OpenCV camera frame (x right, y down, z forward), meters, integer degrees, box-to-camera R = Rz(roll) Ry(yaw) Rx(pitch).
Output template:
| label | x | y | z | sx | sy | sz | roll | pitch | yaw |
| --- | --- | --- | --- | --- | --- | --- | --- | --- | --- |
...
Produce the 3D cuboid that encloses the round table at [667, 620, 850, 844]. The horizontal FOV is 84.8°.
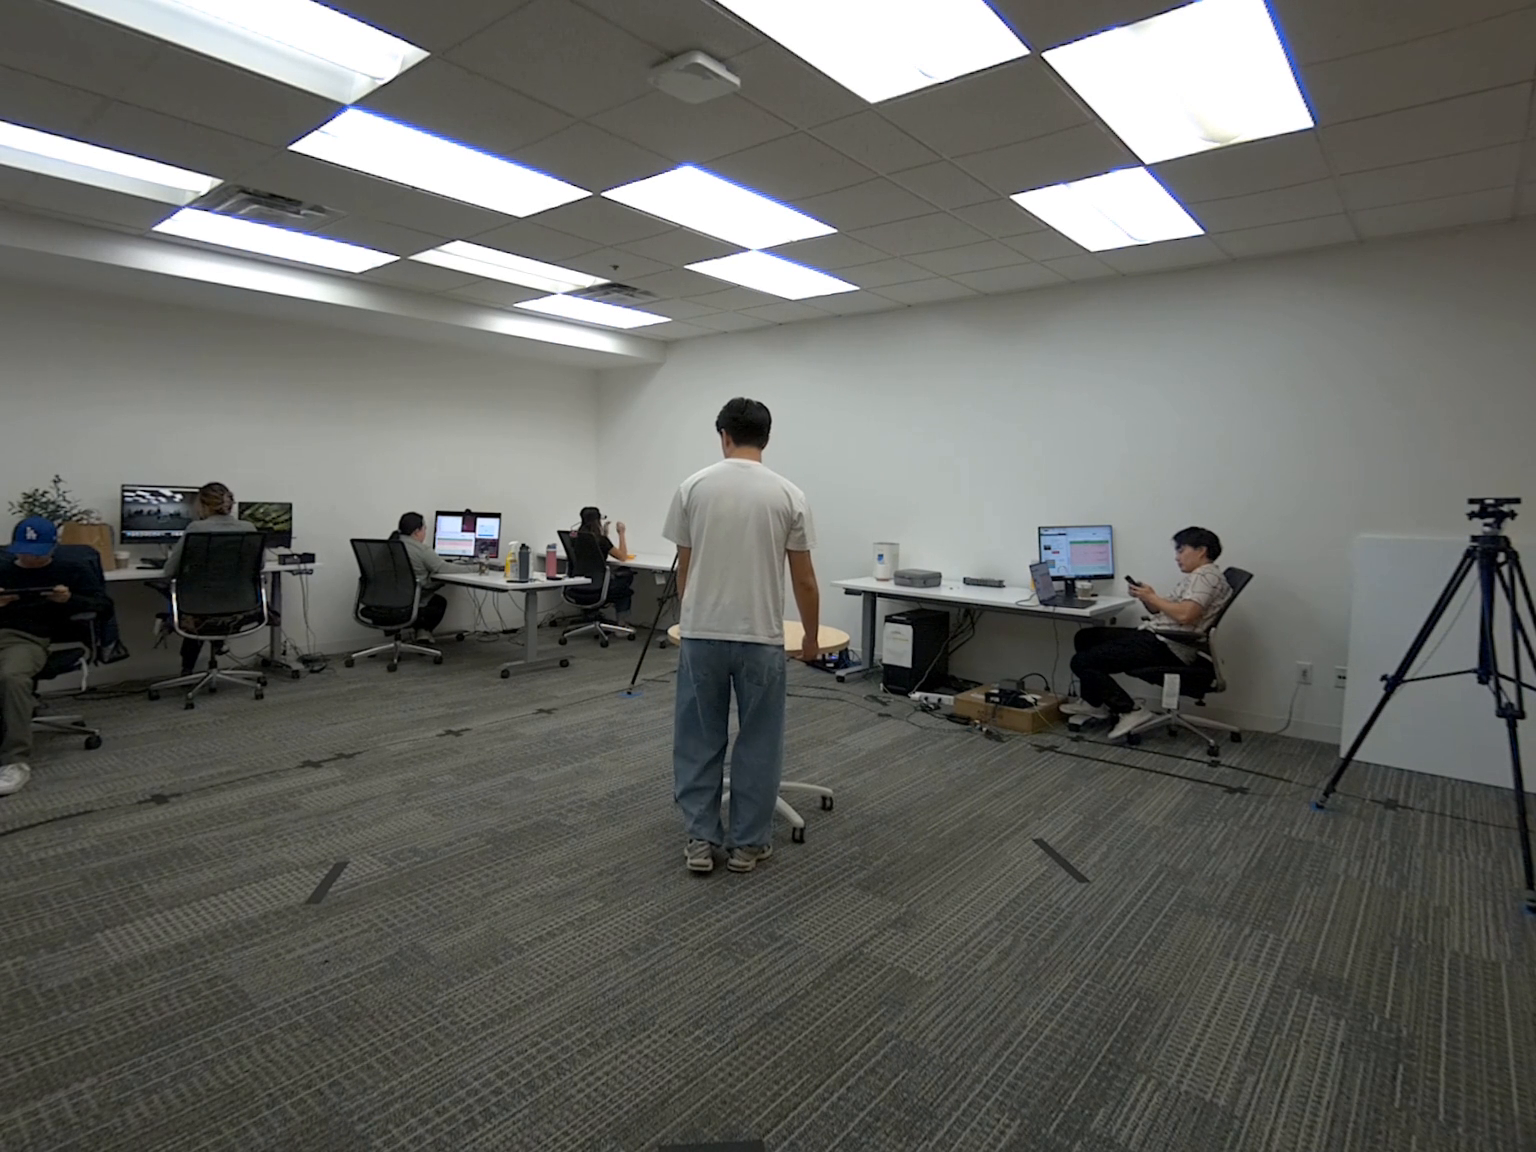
| label | x | y | z | sx | sy | sz | roll | pitch | yaw |
| --- | --- | --- | --- | --- | --- | --- | --- | --- | --- |
| round table | -0.062 | 0.628 | 3.616 | 0.763 | 0.791 | 0.768 | 1 | 4 | -2 |
